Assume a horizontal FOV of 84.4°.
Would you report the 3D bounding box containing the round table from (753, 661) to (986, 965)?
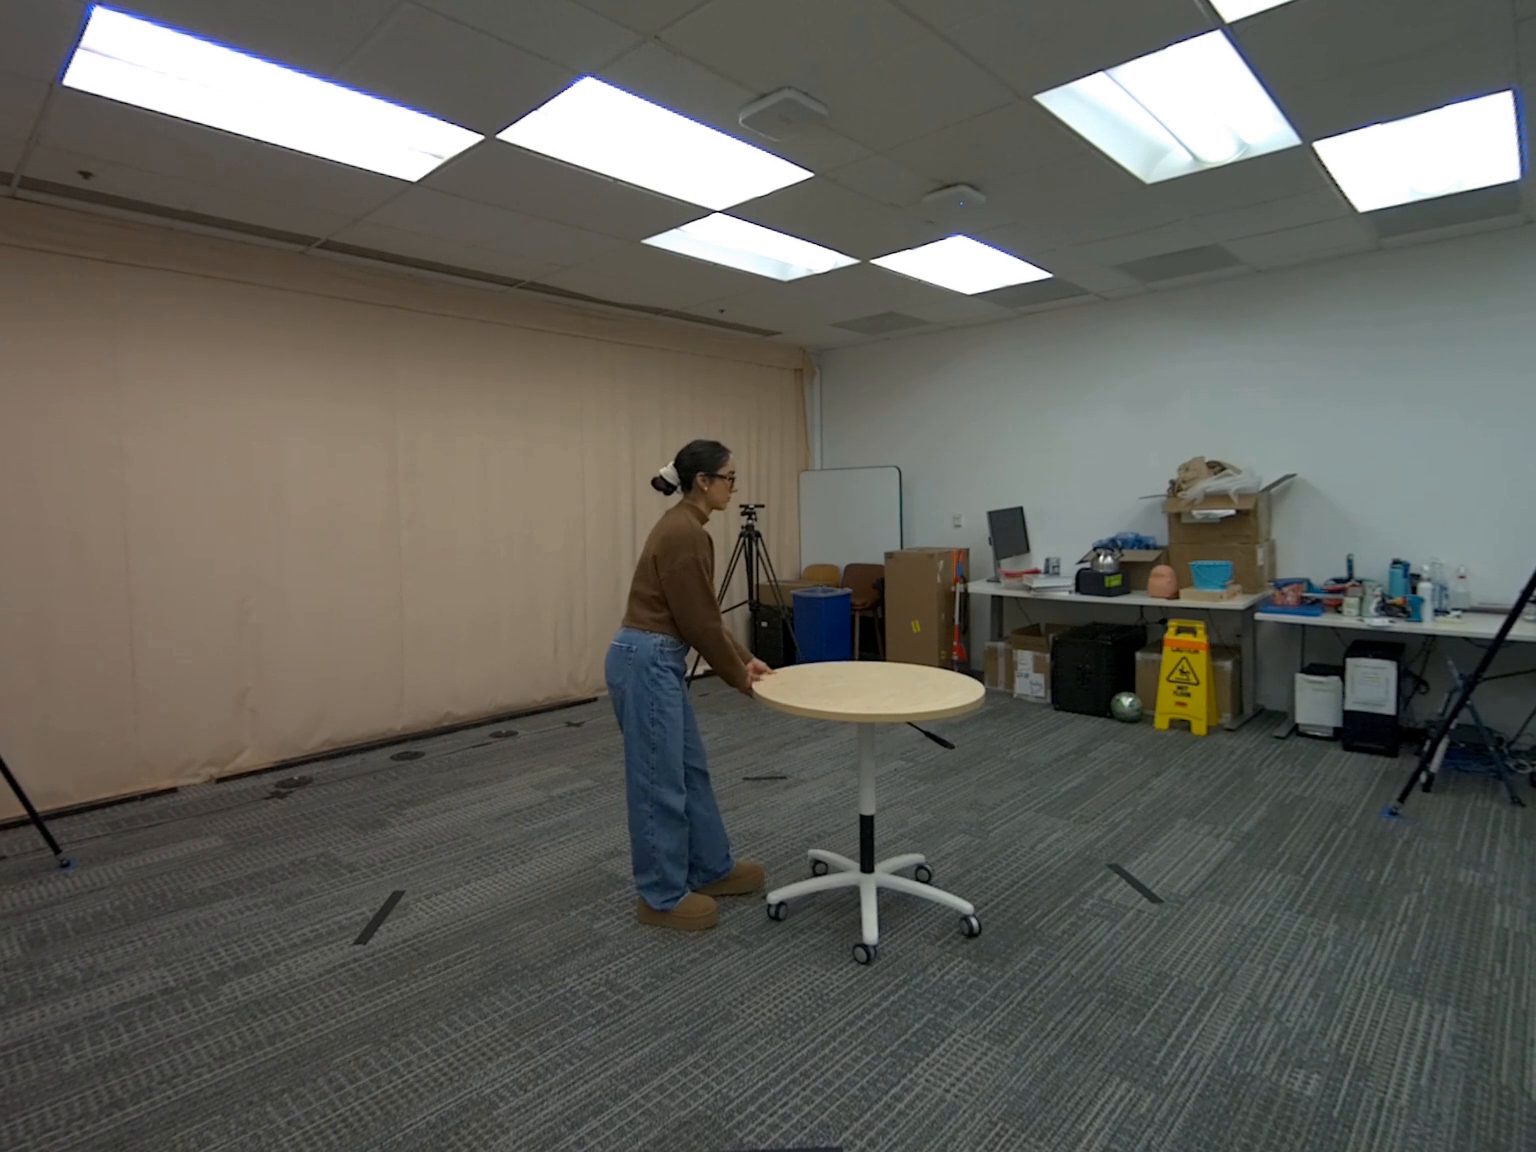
[{"bbox_3d":[0.354,0.755,2.832,0.784,0.784,0.788,-1,4,-2],"label":"round table"}]
